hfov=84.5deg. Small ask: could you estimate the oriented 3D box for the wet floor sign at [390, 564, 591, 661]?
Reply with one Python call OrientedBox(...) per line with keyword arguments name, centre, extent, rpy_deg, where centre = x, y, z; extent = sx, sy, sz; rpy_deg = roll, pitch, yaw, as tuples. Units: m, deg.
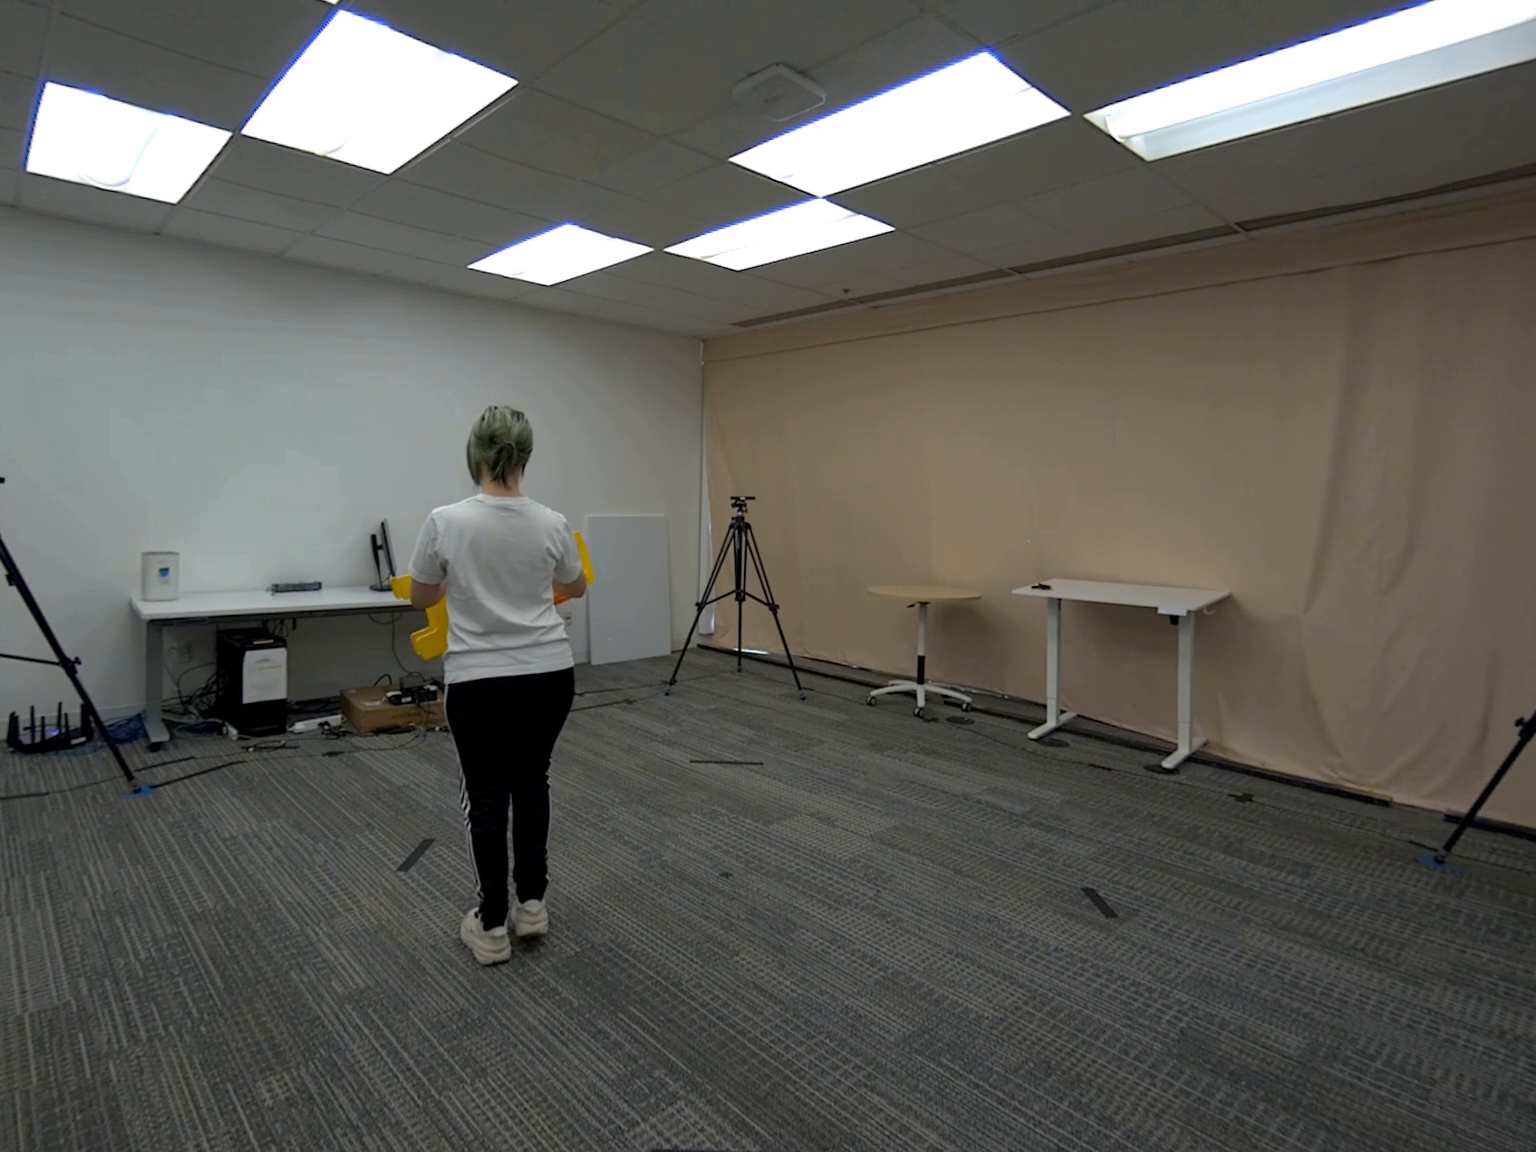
OrientedBox(name="wet floor sign", centre=(-0.925, 0.033, 2.905), extent=(0.639, 0.280, 0.295), rpy_deg=(-22, 11, -27))
